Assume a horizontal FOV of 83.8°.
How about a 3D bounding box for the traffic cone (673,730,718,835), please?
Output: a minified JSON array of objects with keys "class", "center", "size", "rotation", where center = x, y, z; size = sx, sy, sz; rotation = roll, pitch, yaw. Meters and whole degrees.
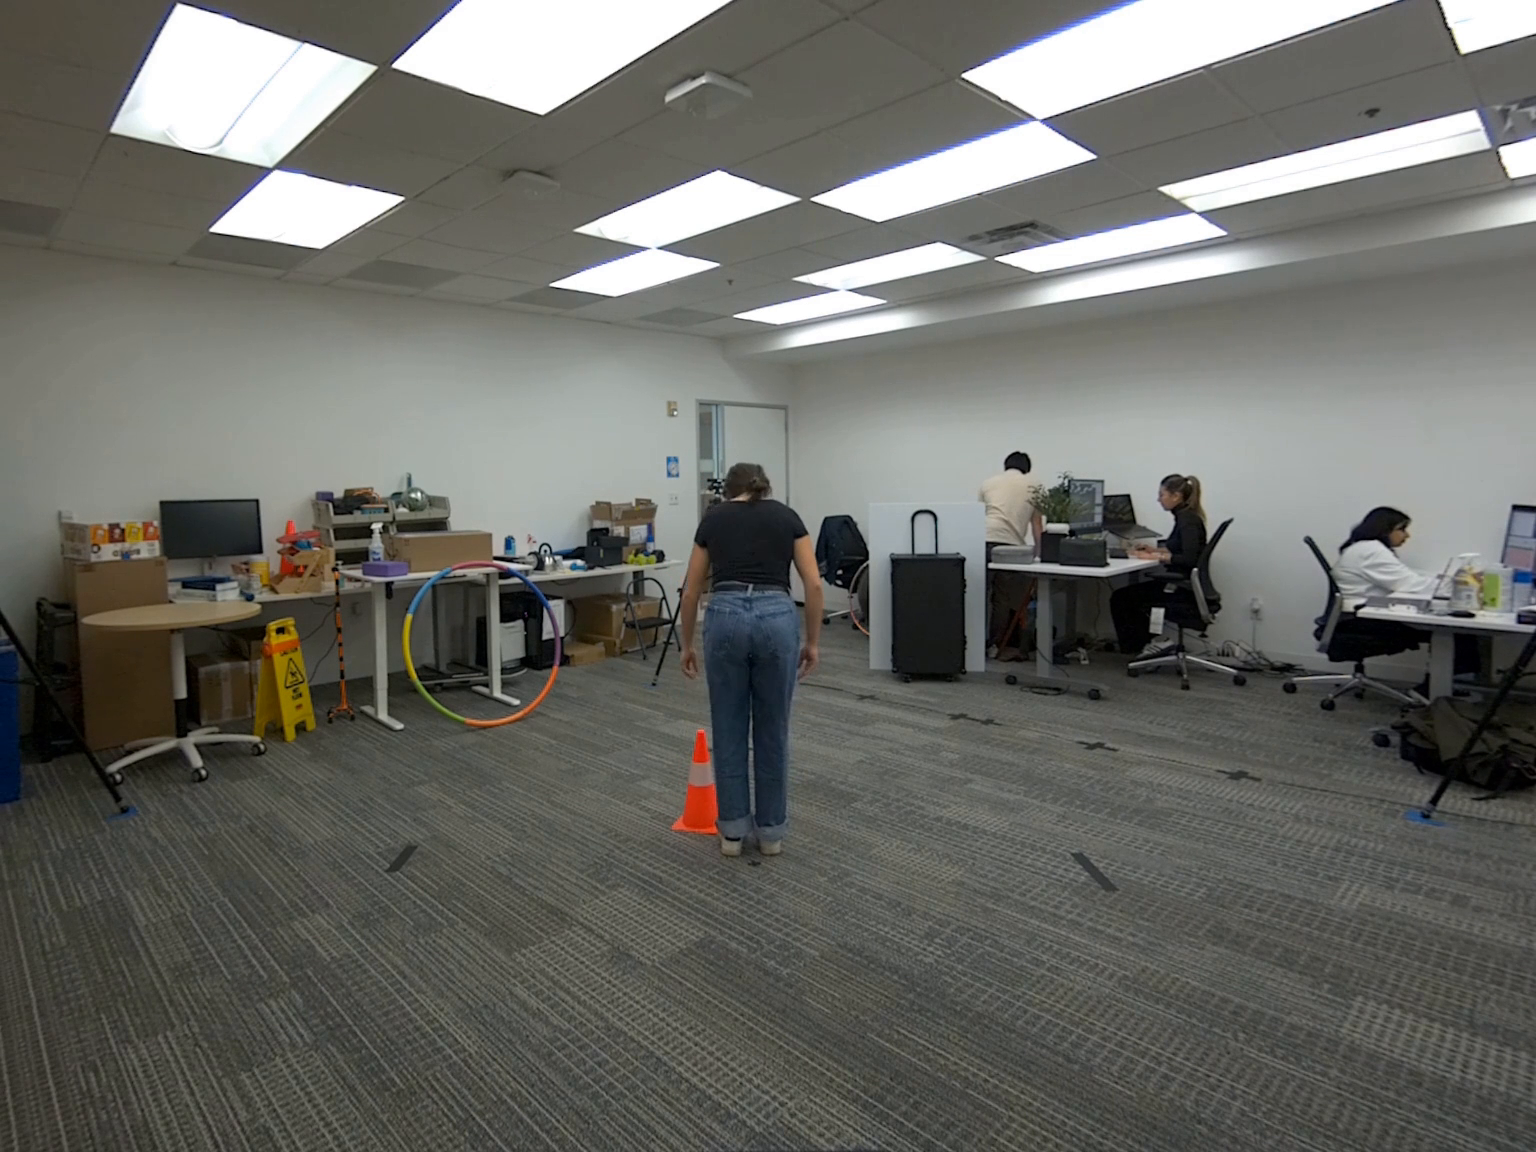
[{"class":"traffic cone","center":[-0.267,0.820,3.488],"size":[0.208,0.382,0.201],"rotation":[0,5,18]}]
